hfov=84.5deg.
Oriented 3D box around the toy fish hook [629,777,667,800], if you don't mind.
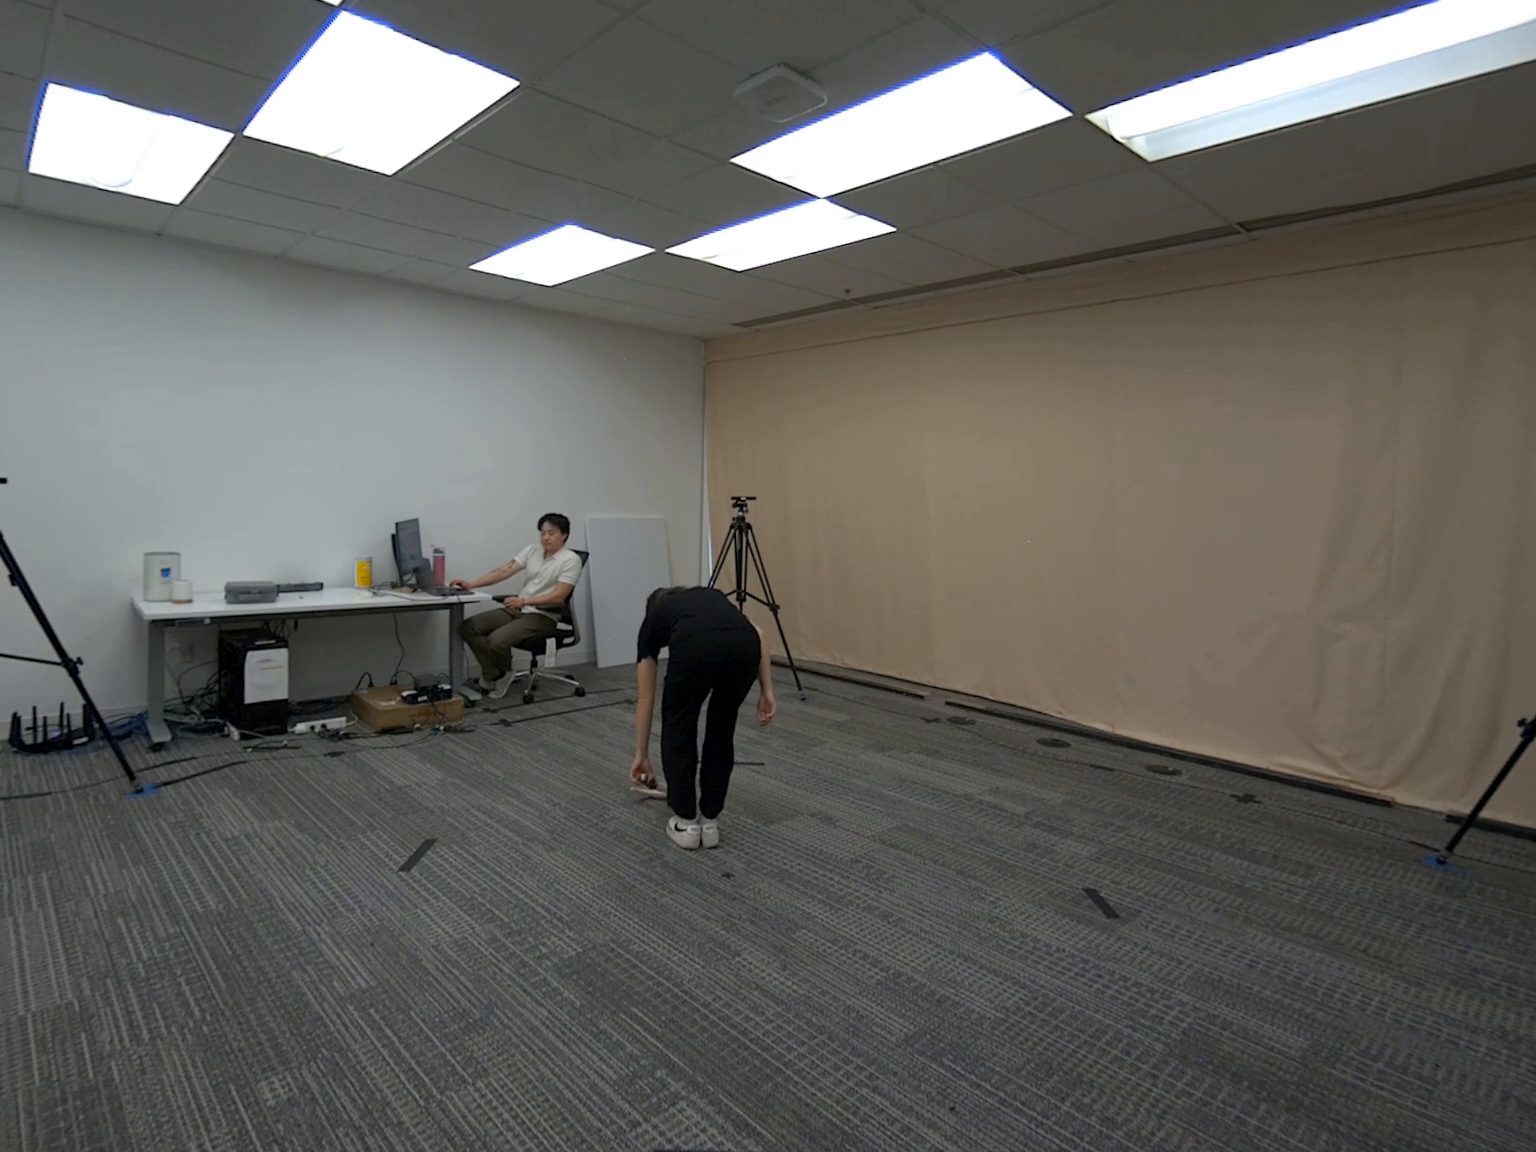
[{"bbox_3d":[-0.549,0.935,3.703,0.226,0.049,0.494,-5,-24,11],"label":"toy fish hook"}]
